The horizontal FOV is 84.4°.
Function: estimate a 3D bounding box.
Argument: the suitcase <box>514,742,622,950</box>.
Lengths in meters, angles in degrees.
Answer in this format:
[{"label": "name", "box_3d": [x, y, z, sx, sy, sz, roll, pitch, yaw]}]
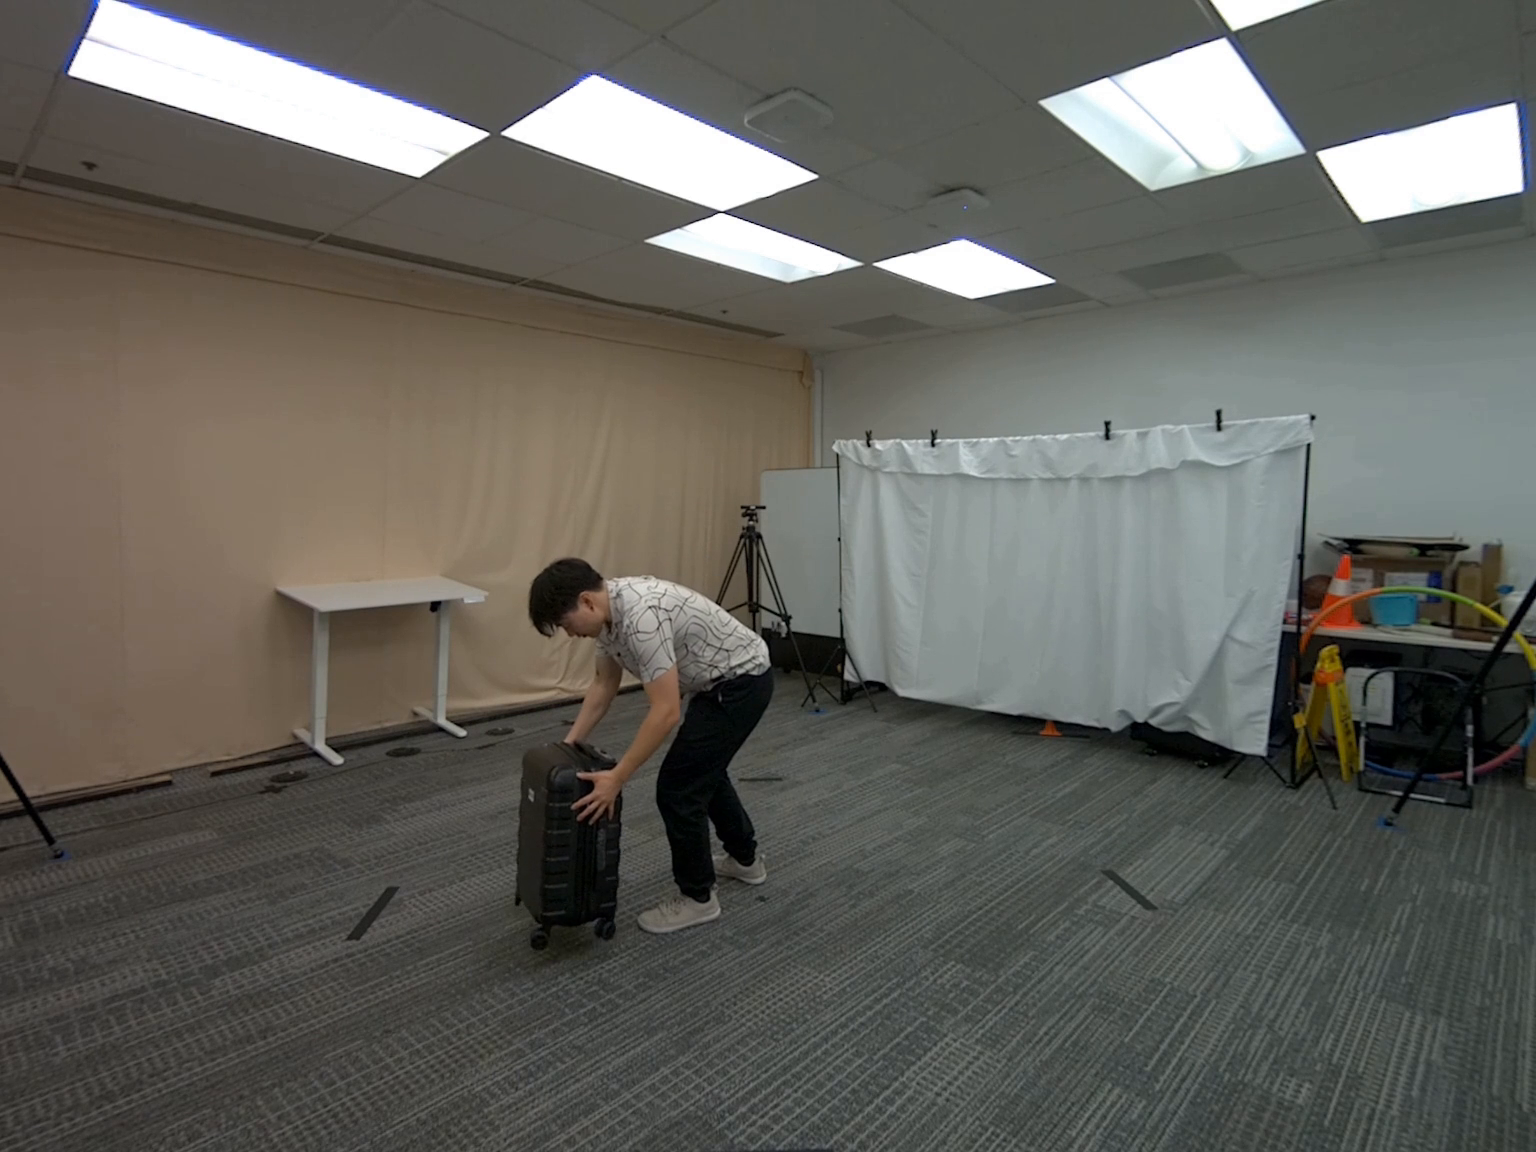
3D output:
[{"label": "suitcase", "box_3d": [-0.633, 0.823, 2.672, 0.242, 0.549, 0.386, 2, 1, -29]}]
